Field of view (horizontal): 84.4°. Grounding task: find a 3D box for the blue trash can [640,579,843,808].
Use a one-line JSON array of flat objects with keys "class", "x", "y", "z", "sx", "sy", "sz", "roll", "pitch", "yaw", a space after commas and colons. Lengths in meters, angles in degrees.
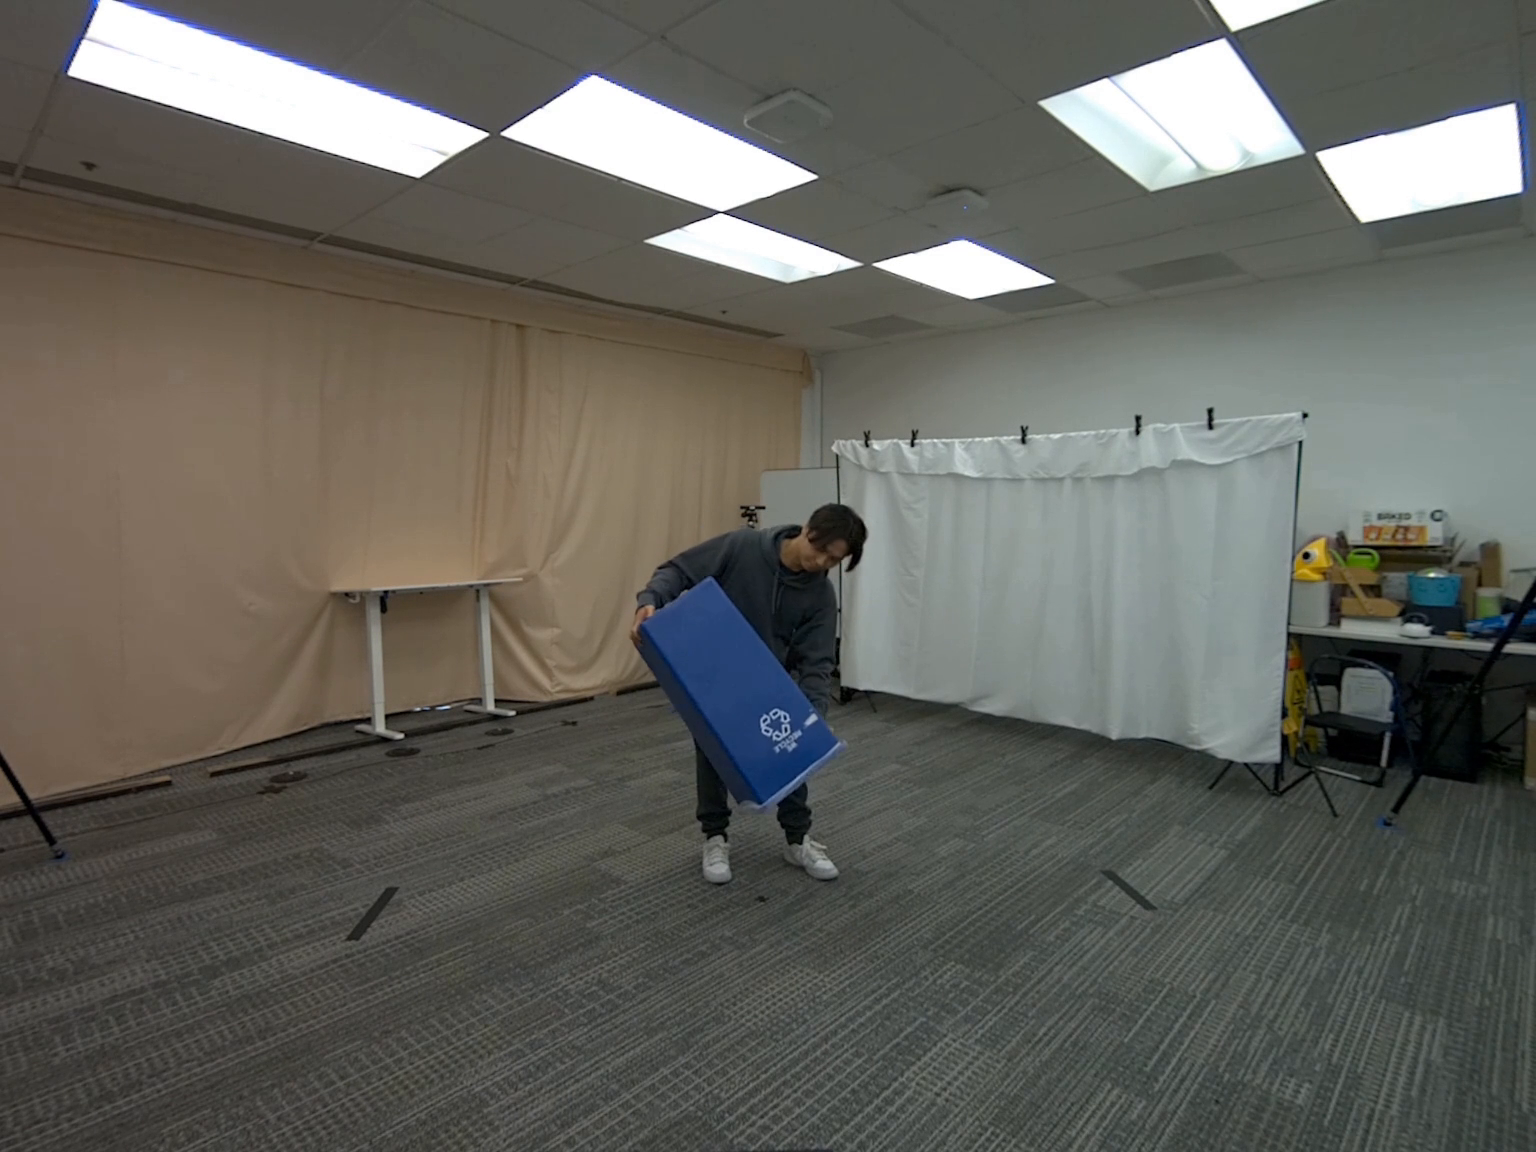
[{"class": "blue trash can", "x": -0.125, "y": 0.409, "z": 2.878, "sx": 0.370, "sy": 0.721, "sz": 0.378, "roll": -34, "pitch": -8, "yaw": -20}]
